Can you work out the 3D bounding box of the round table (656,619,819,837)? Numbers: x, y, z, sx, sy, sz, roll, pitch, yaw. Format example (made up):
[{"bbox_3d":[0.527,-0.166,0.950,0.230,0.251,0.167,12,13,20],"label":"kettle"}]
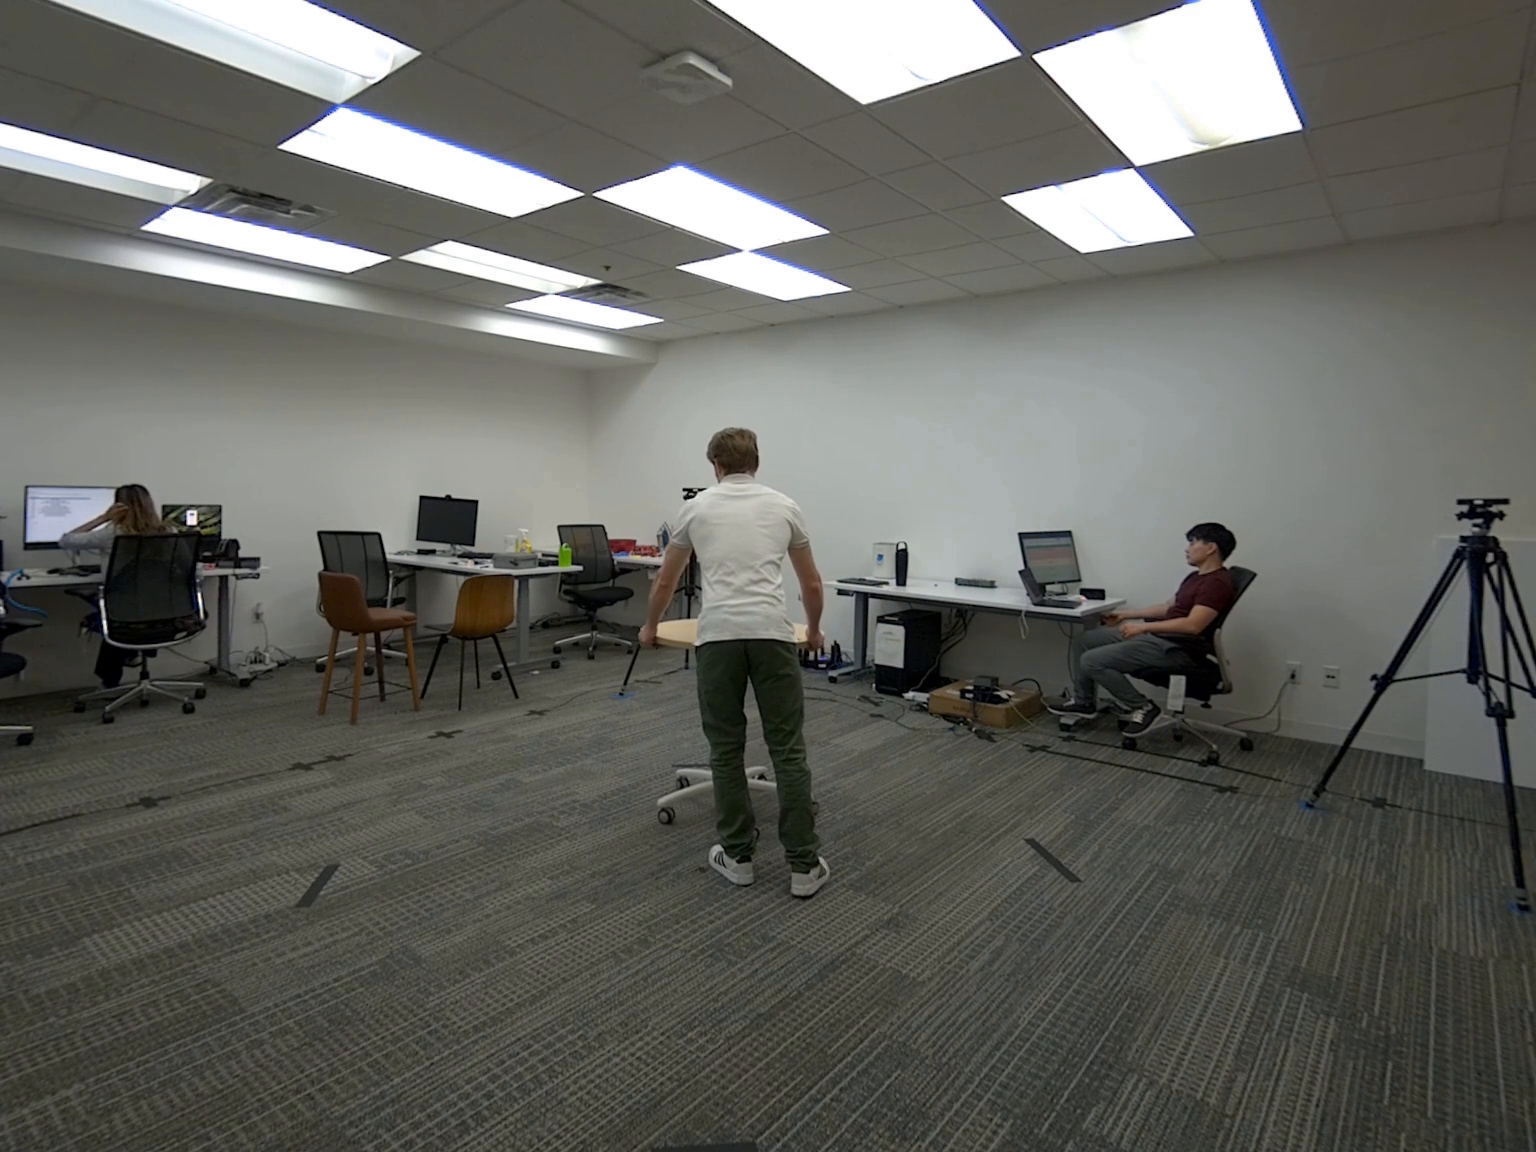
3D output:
[{"bbox_3d":[-0.166,0.624,3.687,0.763,0.792,0.767,1,4,-2],"label":"round table"}]
